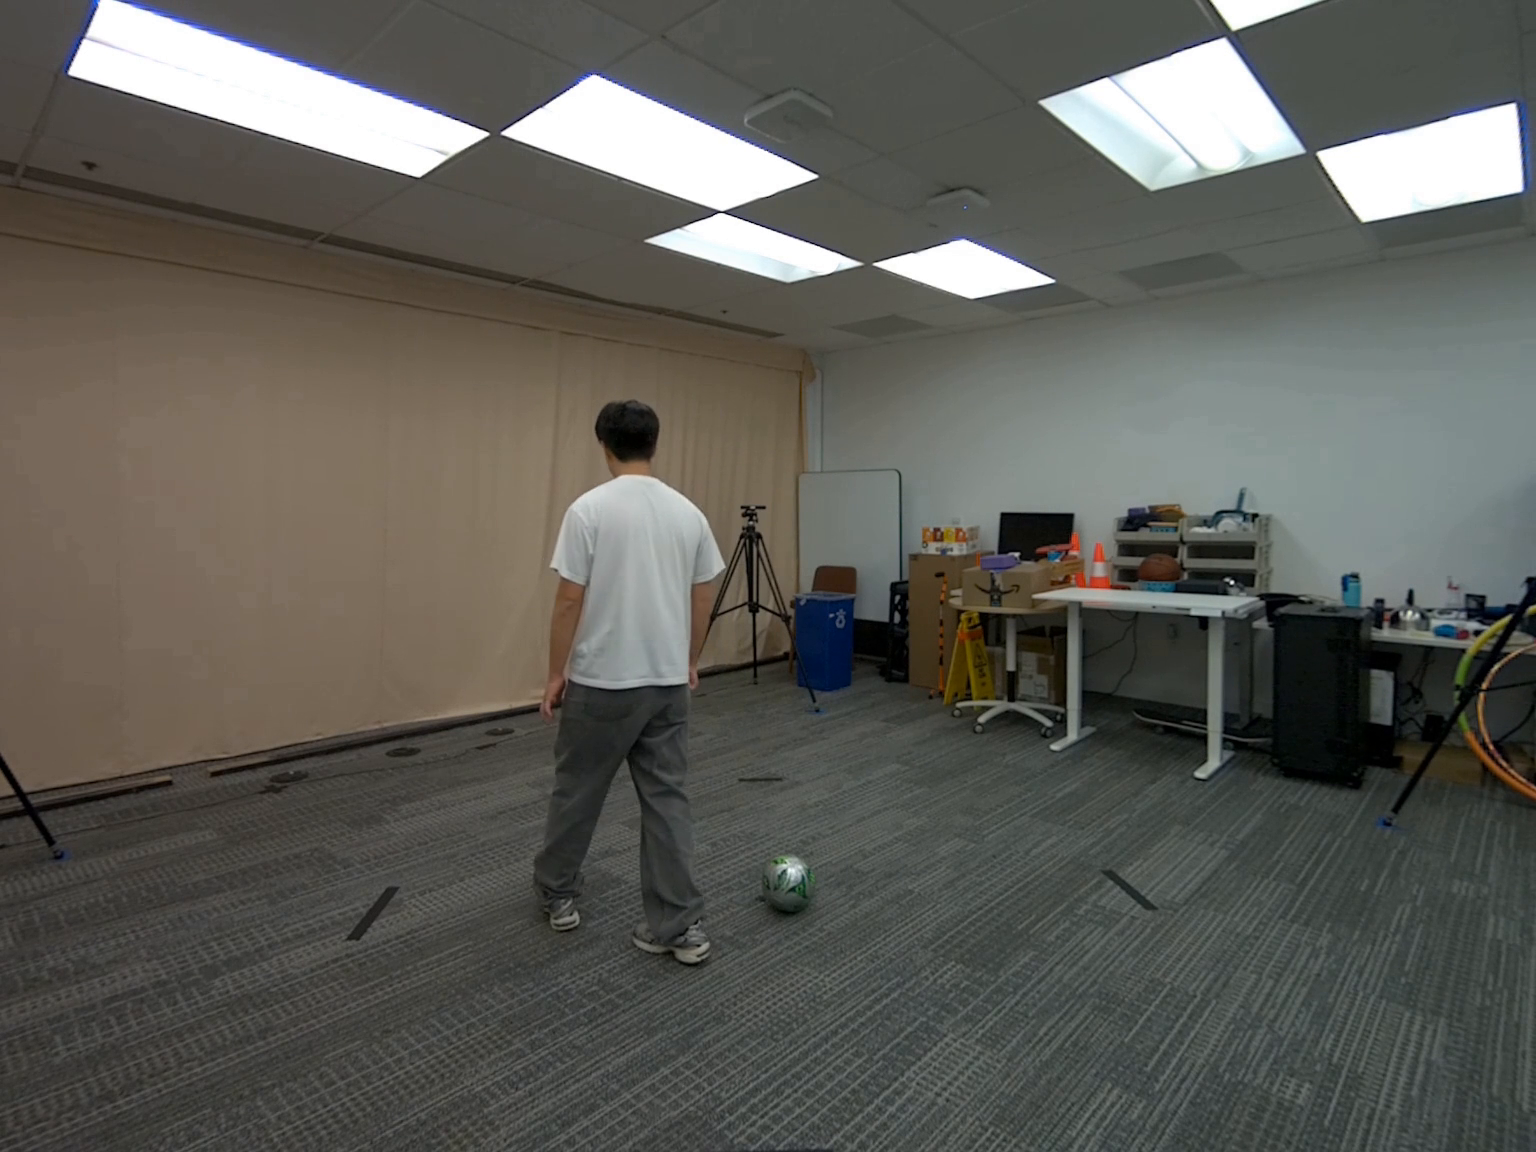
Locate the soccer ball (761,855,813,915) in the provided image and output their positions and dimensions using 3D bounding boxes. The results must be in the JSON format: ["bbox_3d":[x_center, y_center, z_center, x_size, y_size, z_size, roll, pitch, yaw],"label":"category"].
[{"bbox_3d":[0.077,1.057,2.900,0.187,0.187,0.188,0,4,-2],"label":"soccer ball"}]
